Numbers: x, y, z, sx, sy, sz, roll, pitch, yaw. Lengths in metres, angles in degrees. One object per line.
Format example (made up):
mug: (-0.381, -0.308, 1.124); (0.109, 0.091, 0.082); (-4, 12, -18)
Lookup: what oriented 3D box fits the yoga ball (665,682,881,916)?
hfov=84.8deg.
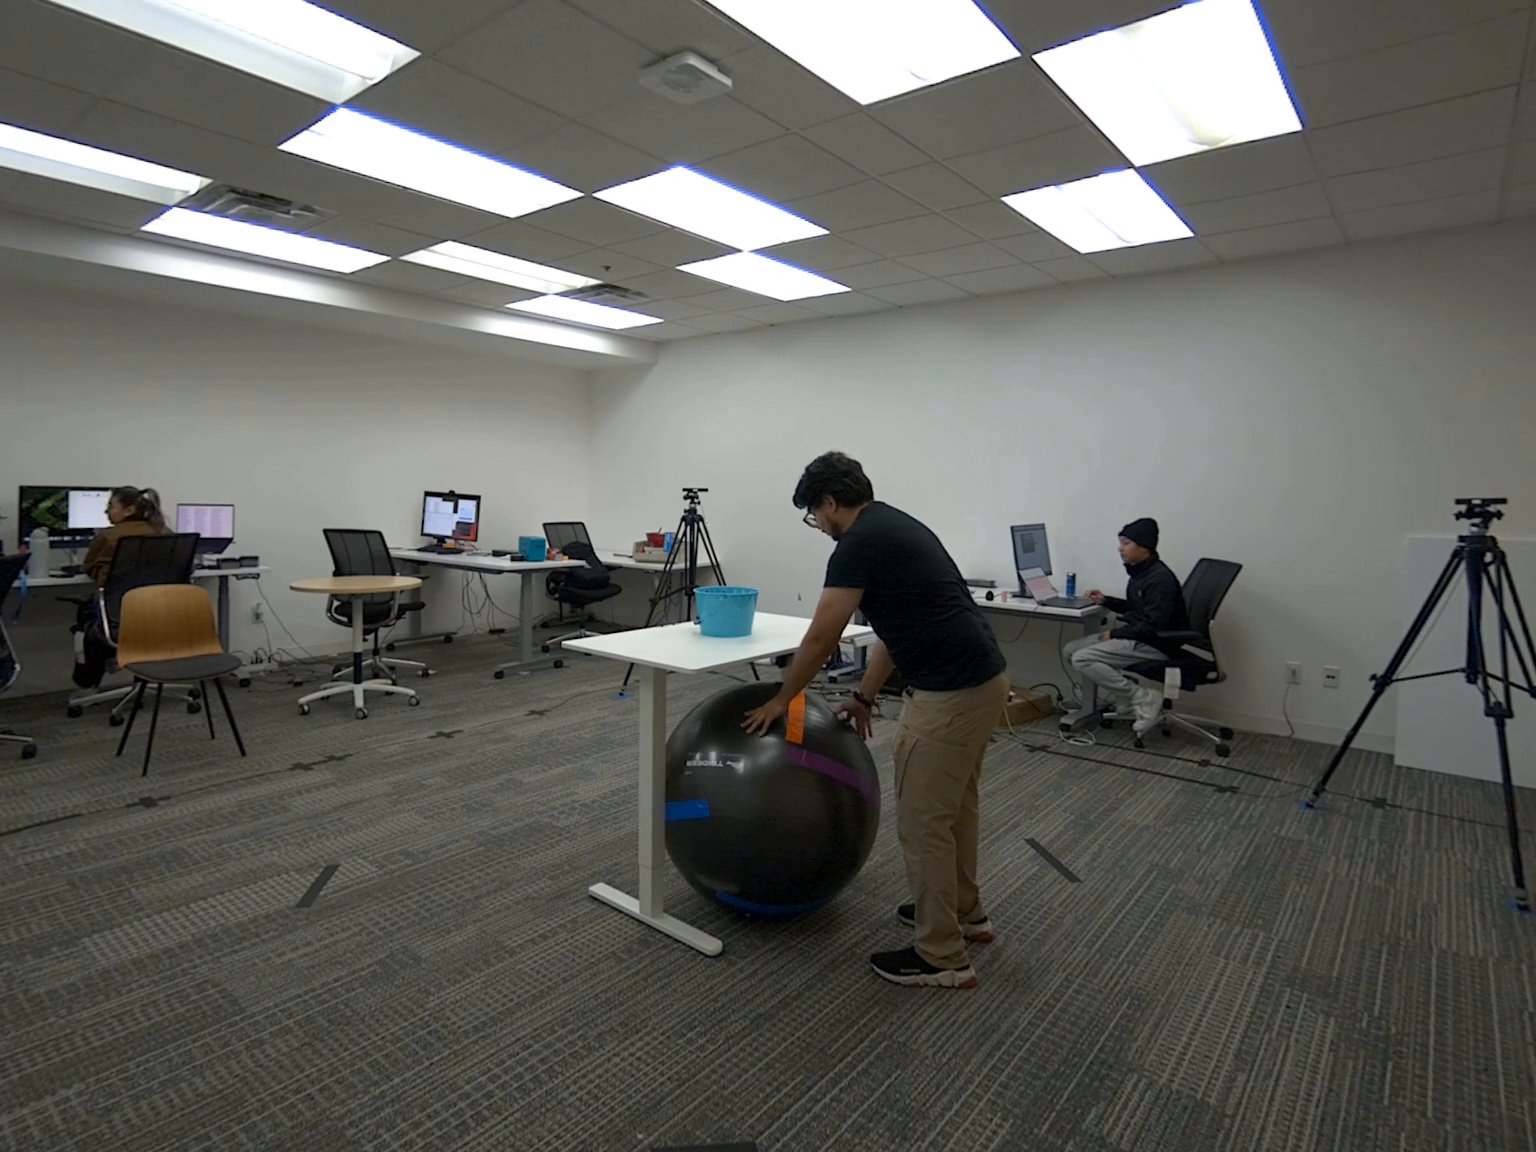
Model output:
yoga ball: (-0.002, 0.750, 2.848); (0.757, 0.755, 0.762); (1, 4, -2)
